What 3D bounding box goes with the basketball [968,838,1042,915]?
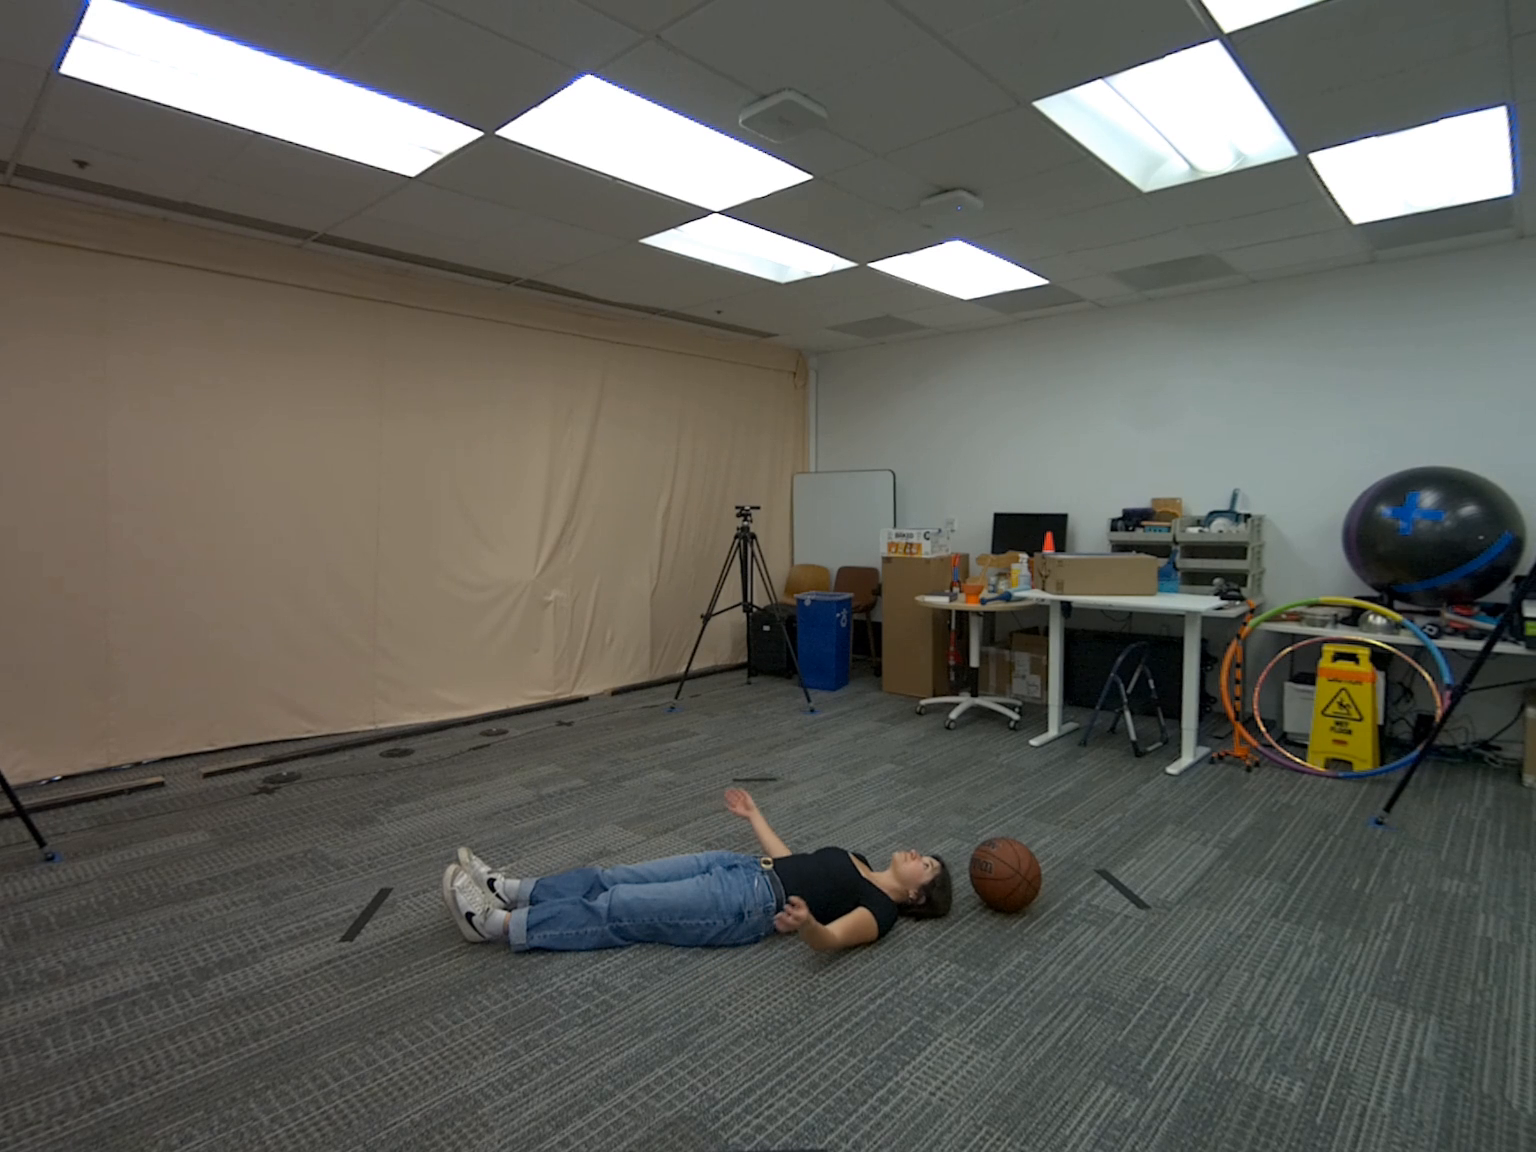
[{"bbox_3d":[0.826,1.026,2.912,0.236,0.235,0.237,0,4,-2],"label":"basketball"}]
